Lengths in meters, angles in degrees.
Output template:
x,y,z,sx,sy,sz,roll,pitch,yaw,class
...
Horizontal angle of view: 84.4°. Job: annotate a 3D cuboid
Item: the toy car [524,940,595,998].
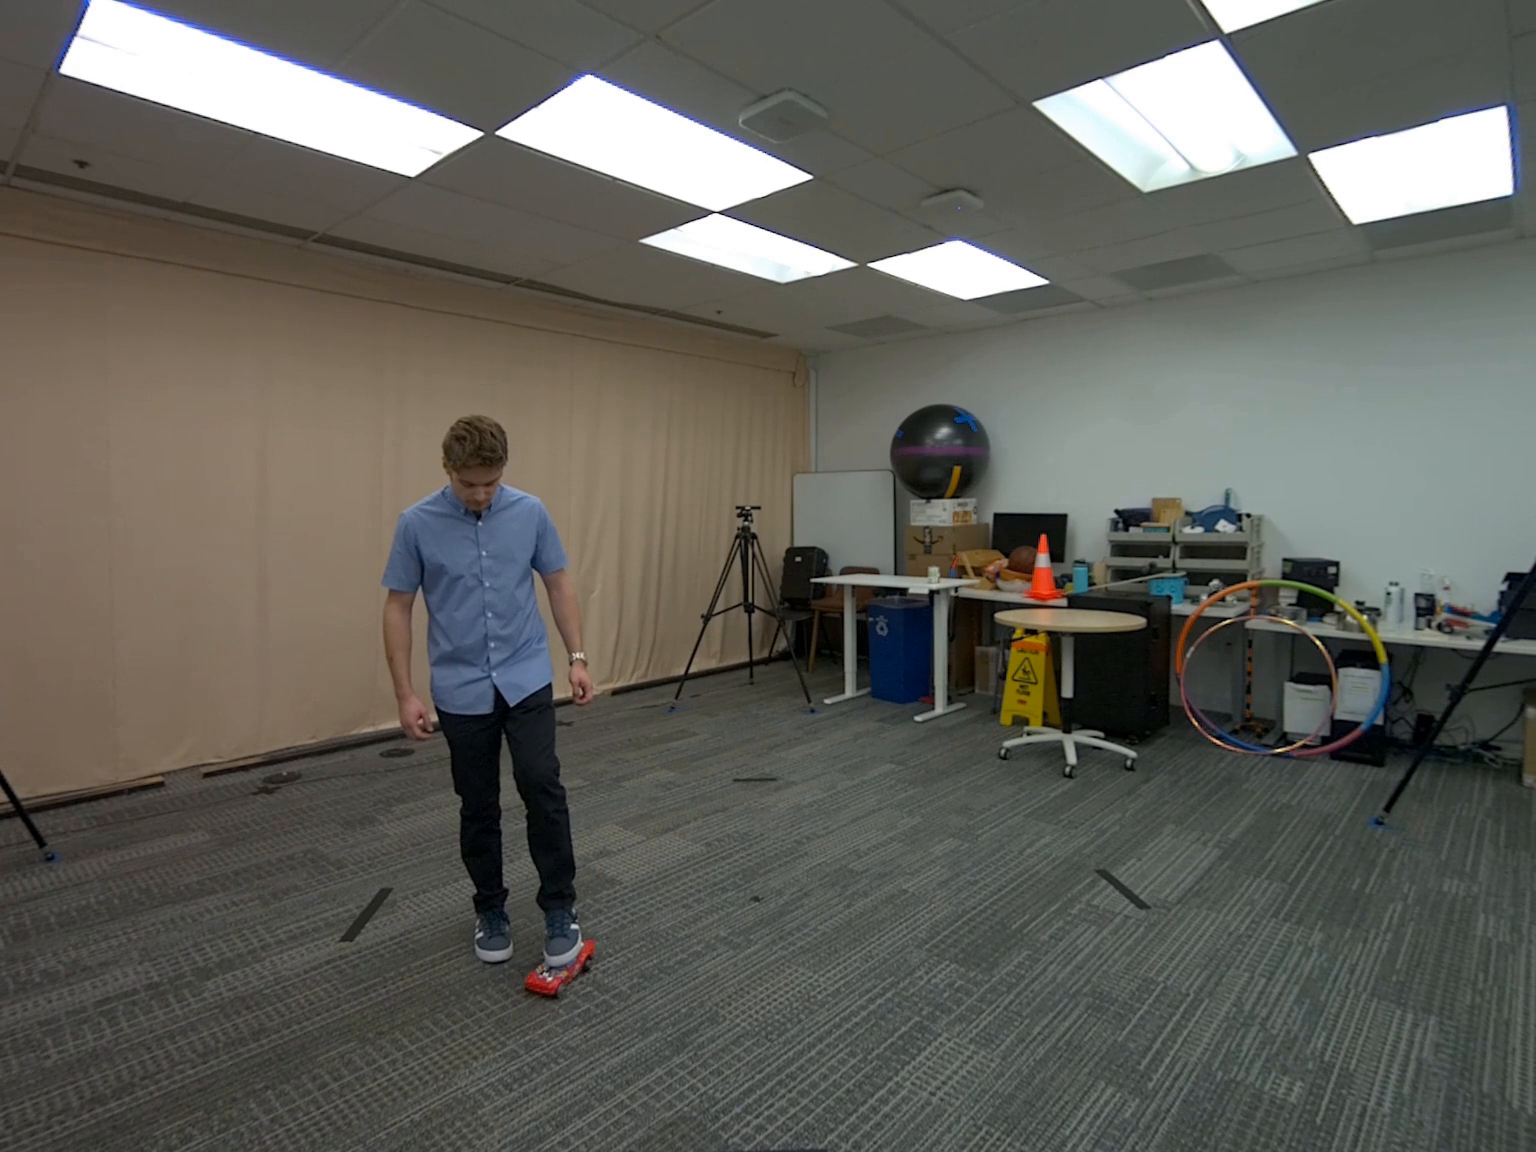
x,y,z,sx,sy,sz,roll,pitch,yaw,class
-0.605,1.162,2.490,0.133,0.082,0.251,0,14,21,toy car
